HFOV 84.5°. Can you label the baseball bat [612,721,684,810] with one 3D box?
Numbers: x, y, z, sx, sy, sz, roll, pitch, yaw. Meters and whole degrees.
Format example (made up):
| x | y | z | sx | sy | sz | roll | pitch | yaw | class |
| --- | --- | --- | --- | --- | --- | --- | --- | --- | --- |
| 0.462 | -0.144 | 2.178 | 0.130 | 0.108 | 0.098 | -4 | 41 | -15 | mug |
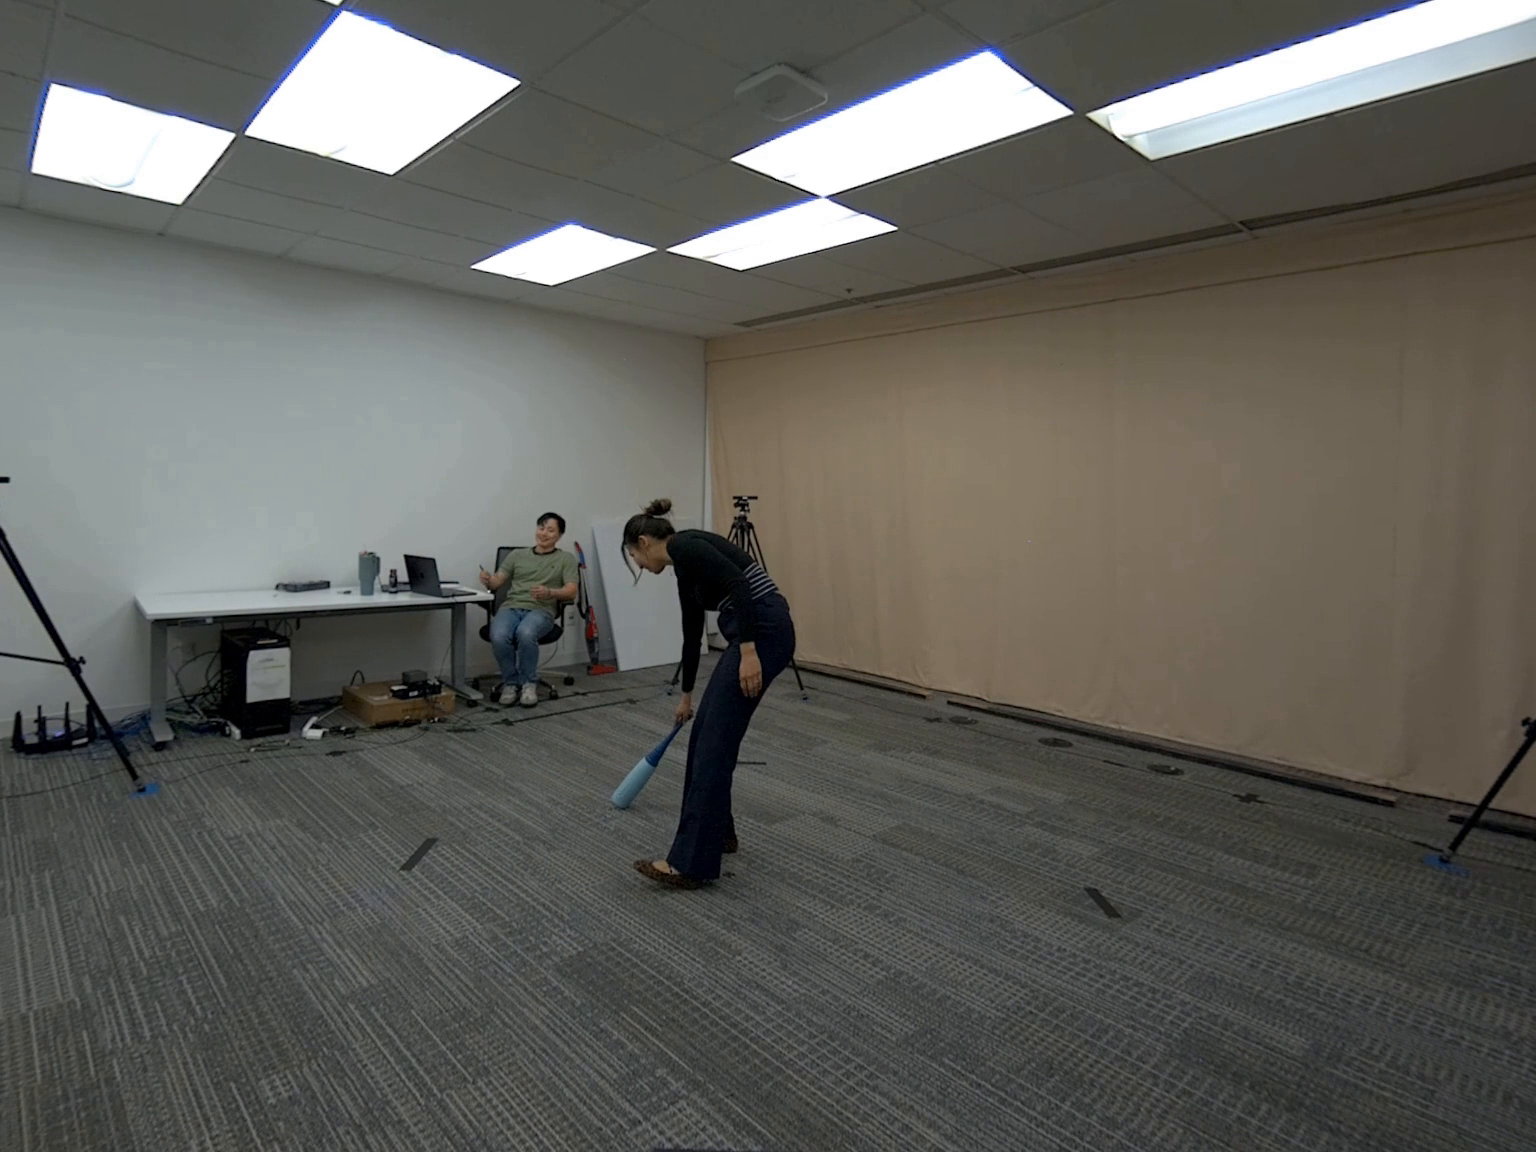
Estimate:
| x | y | z | sx | sy | sz | roll | pitch | yaw | class |
| --- | --- | --- | --- | --- | --- | --- | --- | --- | --- |
| -0.512 | 0.806 | 3.710 | 0.088 | 0.542 | 0.090 | 36 | 9 | -9 | baseball bat |
